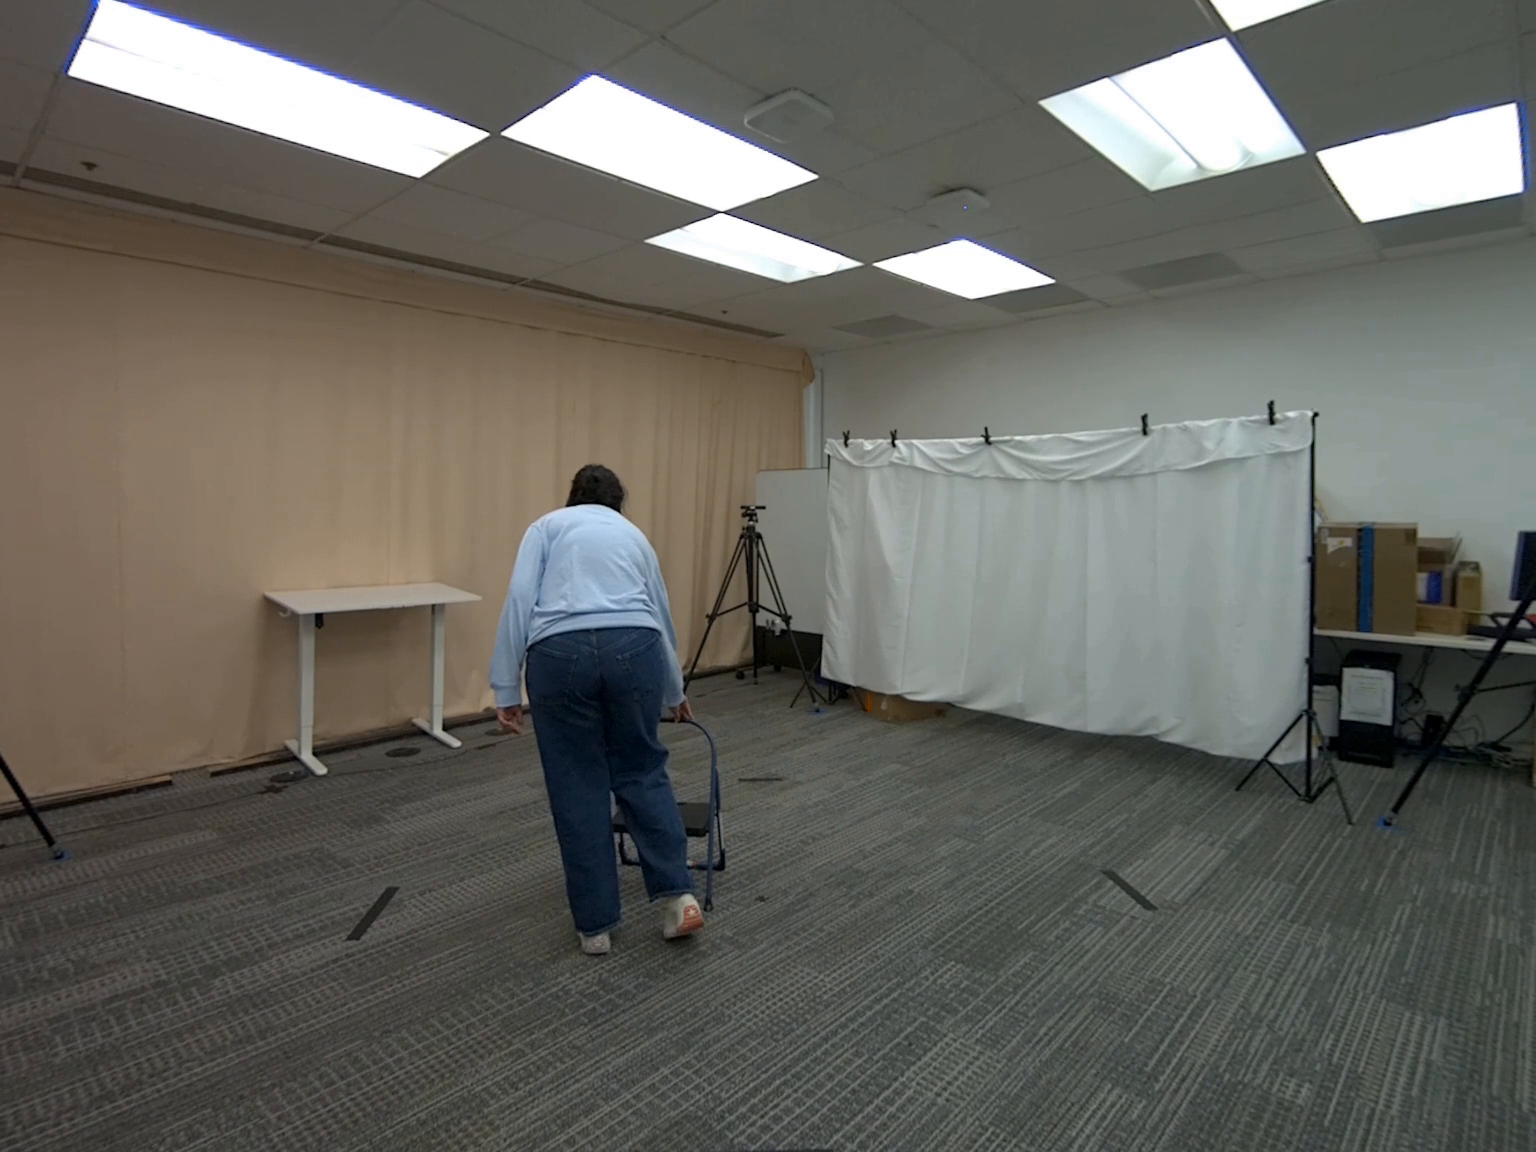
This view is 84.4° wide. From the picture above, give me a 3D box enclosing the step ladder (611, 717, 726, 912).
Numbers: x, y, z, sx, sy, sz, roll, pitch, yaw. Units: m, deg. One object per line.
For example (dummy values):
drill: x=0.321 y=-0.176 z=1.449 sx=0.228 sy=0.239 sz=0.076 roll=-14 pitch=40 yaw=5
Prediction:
step ladder: x=-0.385 y=0.838 z=3.084 sx=0.435 sy=0.604 sz=0.347 roll=0 pitch=4 yaw=8
